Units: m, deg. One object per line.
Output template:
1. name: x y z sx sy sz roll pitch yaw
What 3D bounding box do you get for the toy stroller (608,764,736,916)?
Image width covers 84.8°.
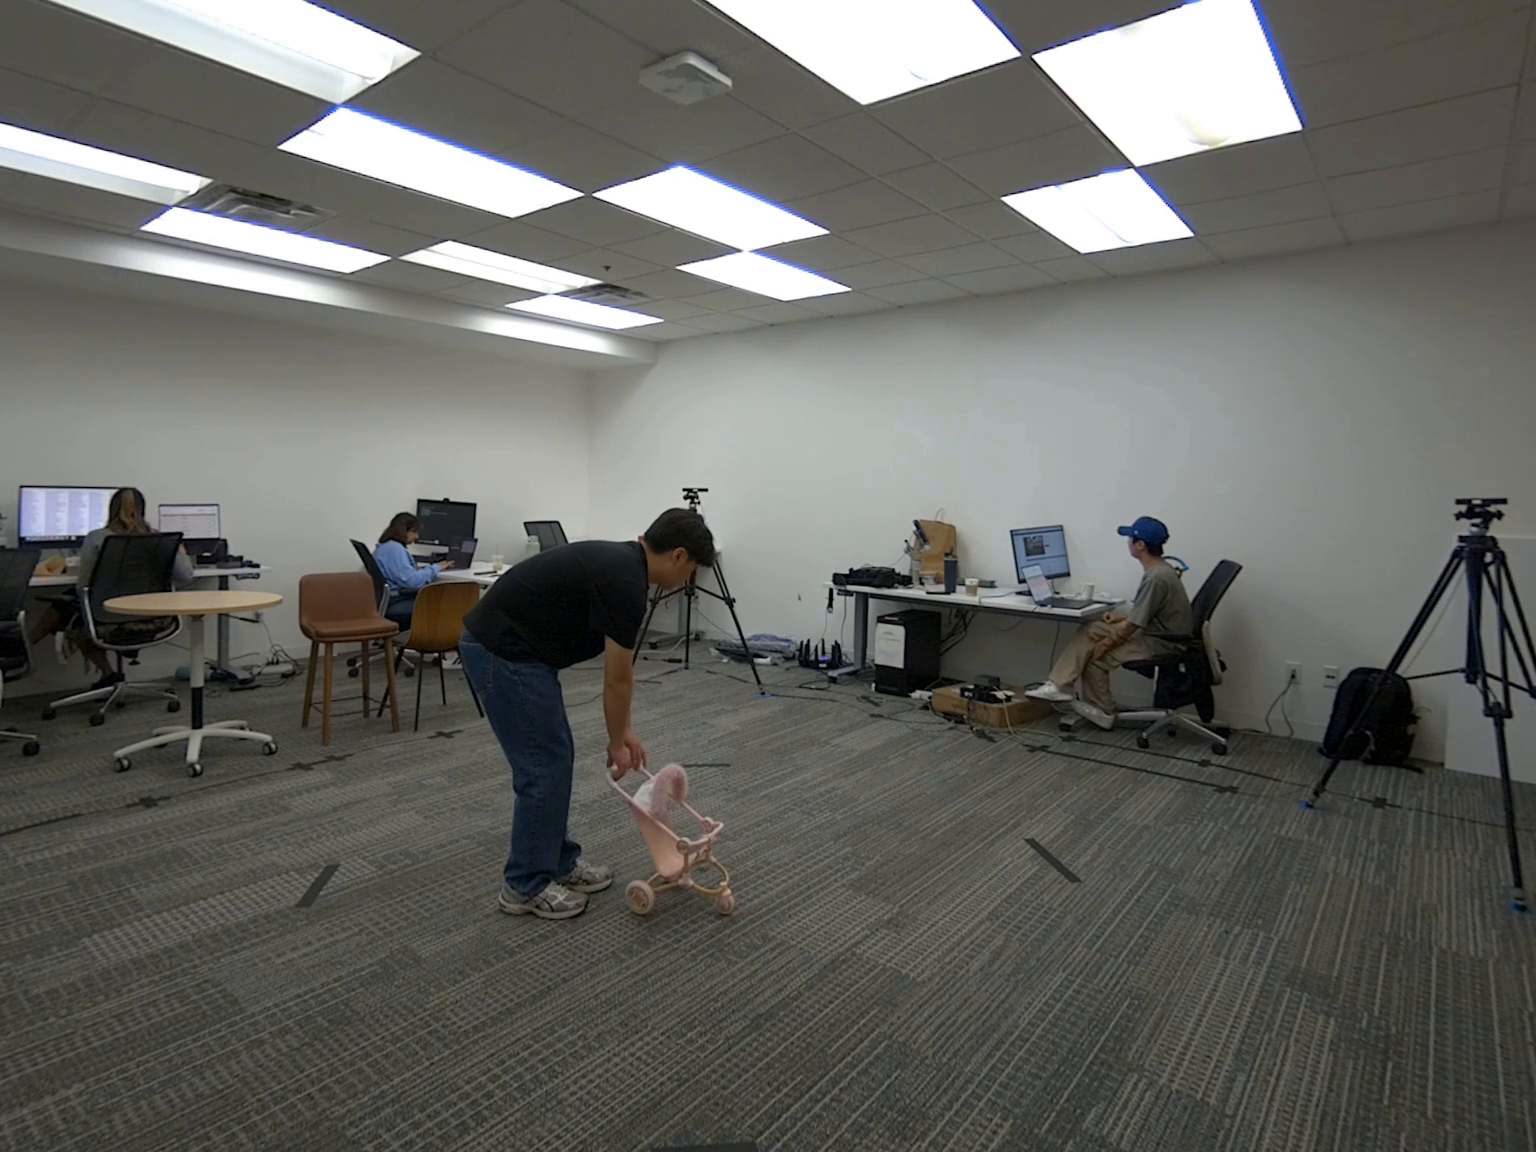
1. toy stroller: -0.322 0.874 2.840 0.347 0.538 0.275 -16 -4 27
